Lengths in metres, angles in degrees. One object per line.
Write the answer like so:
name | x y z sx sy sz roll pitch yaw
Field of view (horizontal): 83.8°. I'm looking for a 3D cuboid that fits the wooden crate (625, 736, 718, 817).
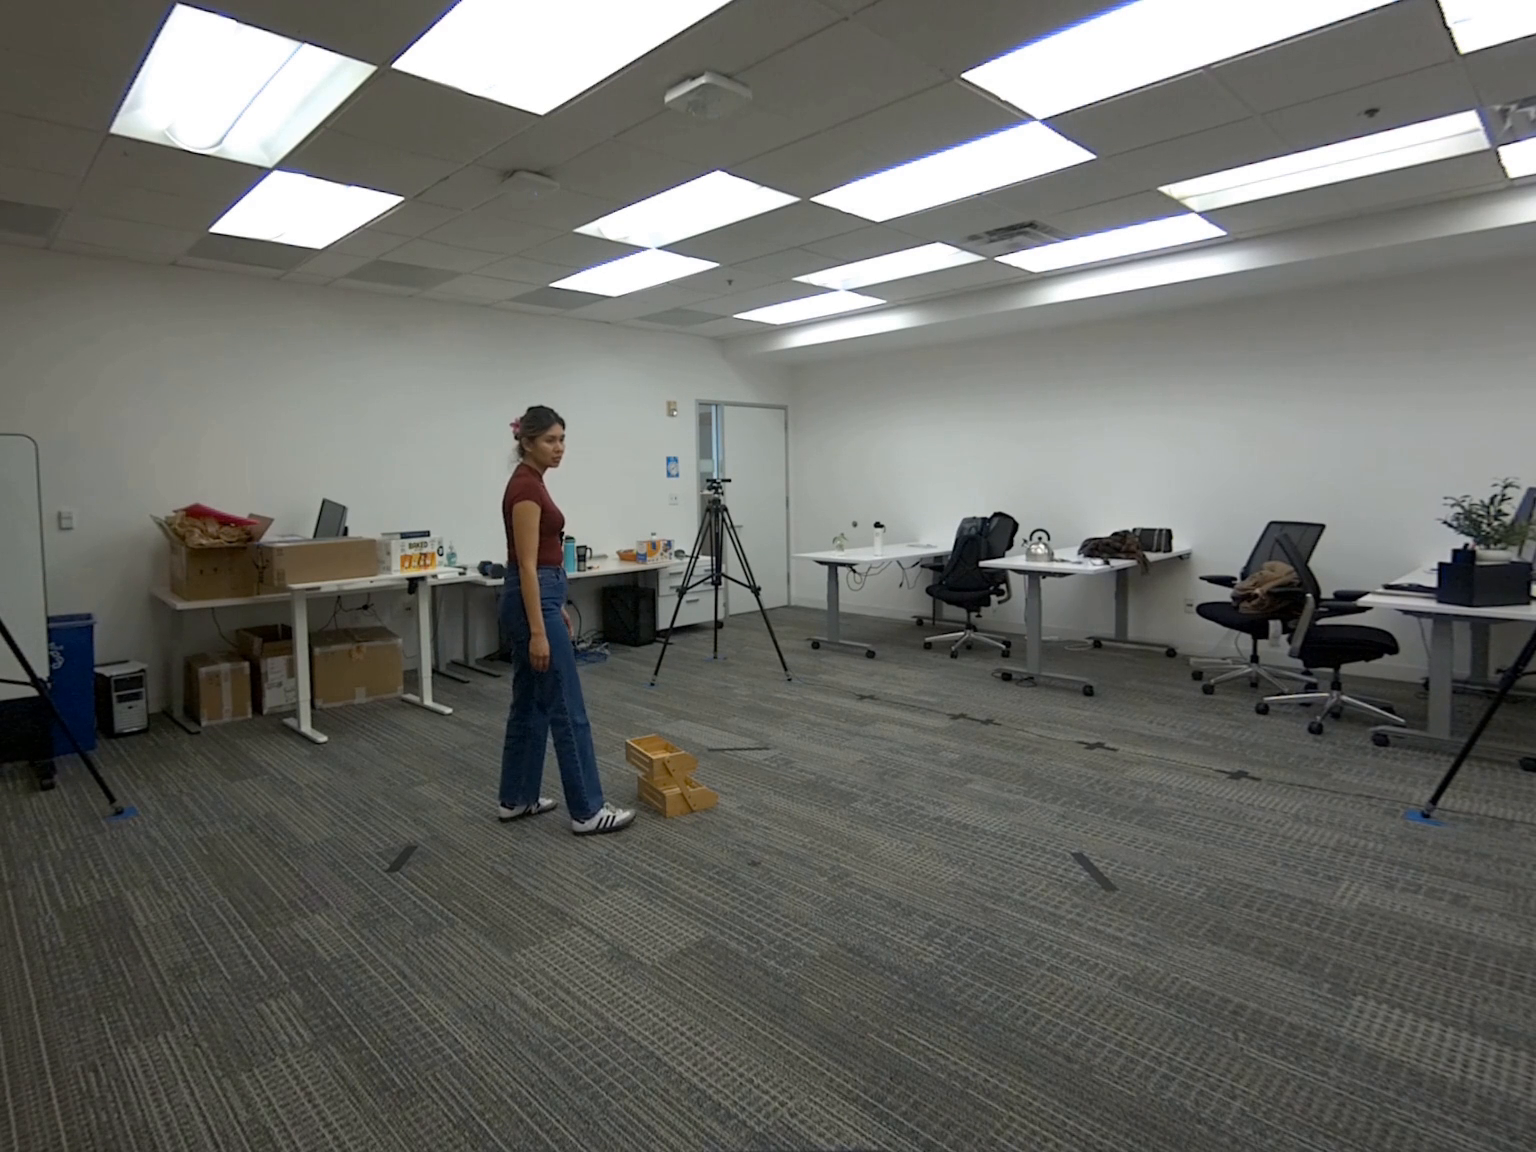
wooden crate | -0.419 0.850 3.717 0.295 0.272 0.334 -3 7 -30
